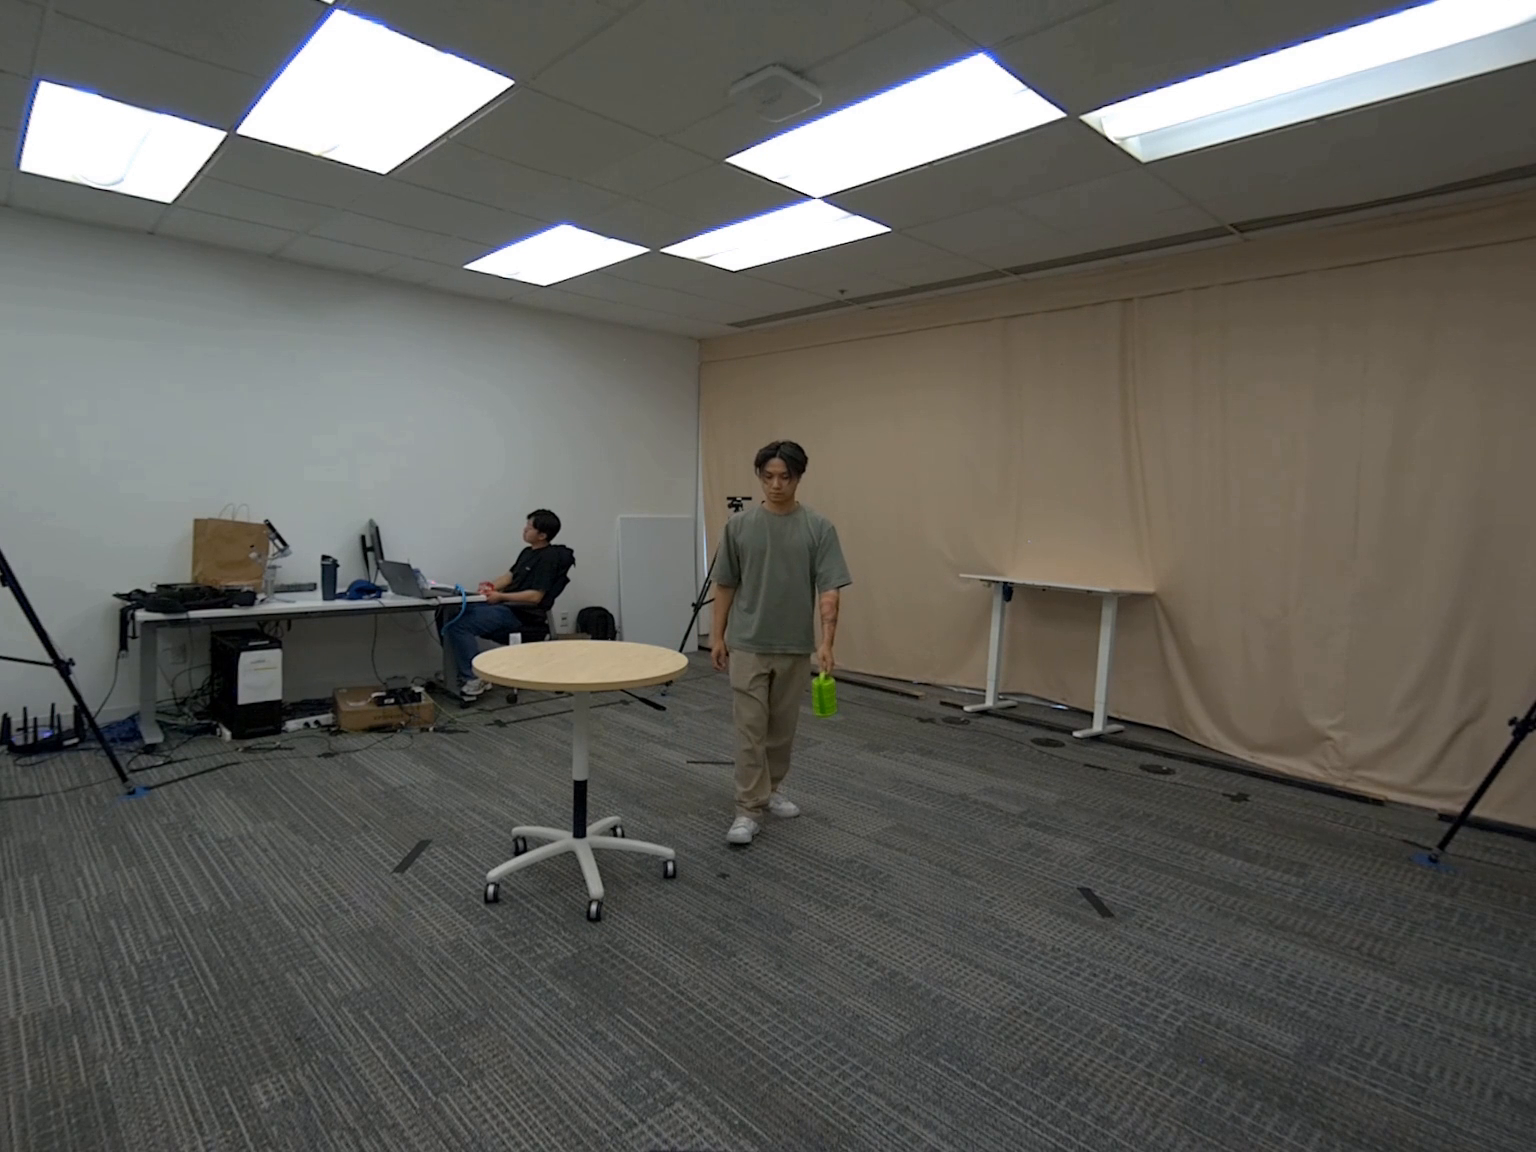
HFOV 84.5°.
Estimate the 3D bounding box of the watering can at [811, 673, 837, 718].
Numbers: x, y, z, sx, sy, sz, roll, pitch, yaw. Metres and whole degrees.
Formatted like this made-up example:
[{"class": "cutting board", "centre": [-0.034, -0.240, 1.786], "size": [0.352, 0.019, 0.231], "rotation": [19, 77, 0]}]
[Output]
[{"class": "watering can", "centre": [0.208, 0.474, 3.349], "size": [0.099, 0.176, 0.276], "rotation": [-1, 7, 17]}]
